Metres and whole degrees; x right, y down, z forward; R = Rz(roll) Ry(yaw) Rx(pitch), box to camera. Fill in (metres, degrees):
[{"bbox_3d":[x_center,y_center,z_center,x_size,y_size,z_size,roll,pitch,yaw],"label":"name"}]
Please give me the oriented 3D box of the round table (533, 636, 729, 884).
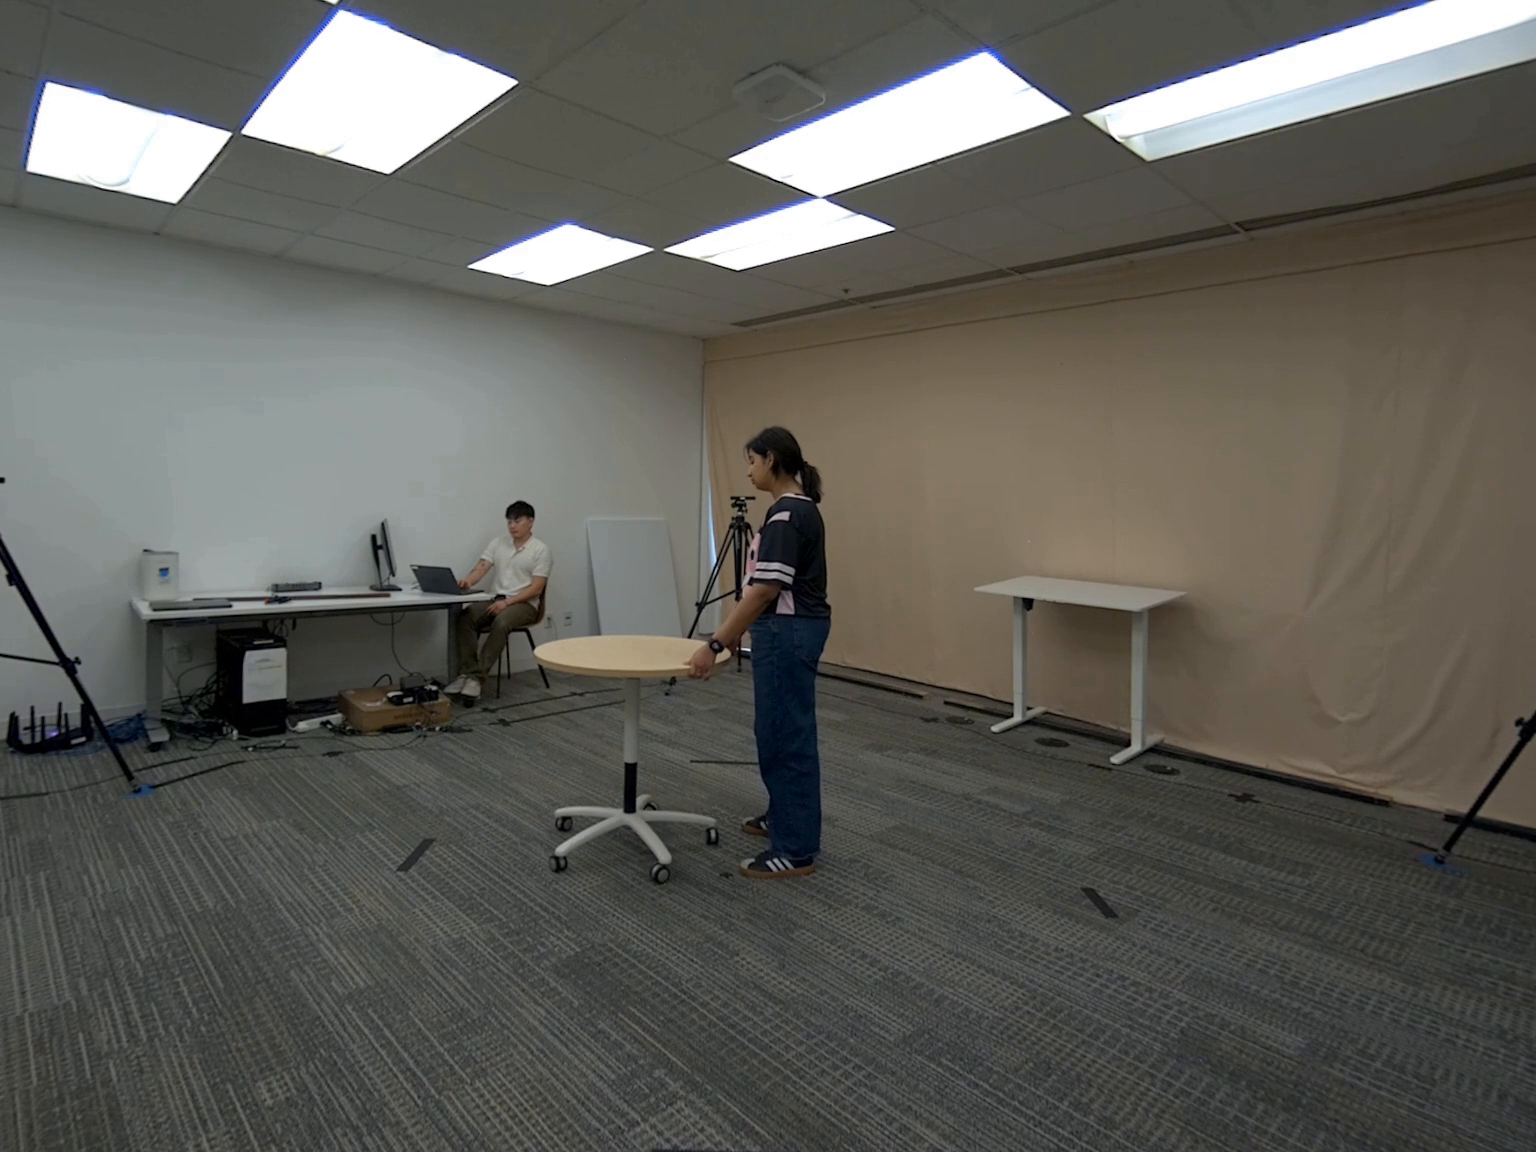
[{"bbox_3d":[-0.550,0.684,3.320,0.763,0.792,0.766,2,4,-1],"label":"round table"}]
